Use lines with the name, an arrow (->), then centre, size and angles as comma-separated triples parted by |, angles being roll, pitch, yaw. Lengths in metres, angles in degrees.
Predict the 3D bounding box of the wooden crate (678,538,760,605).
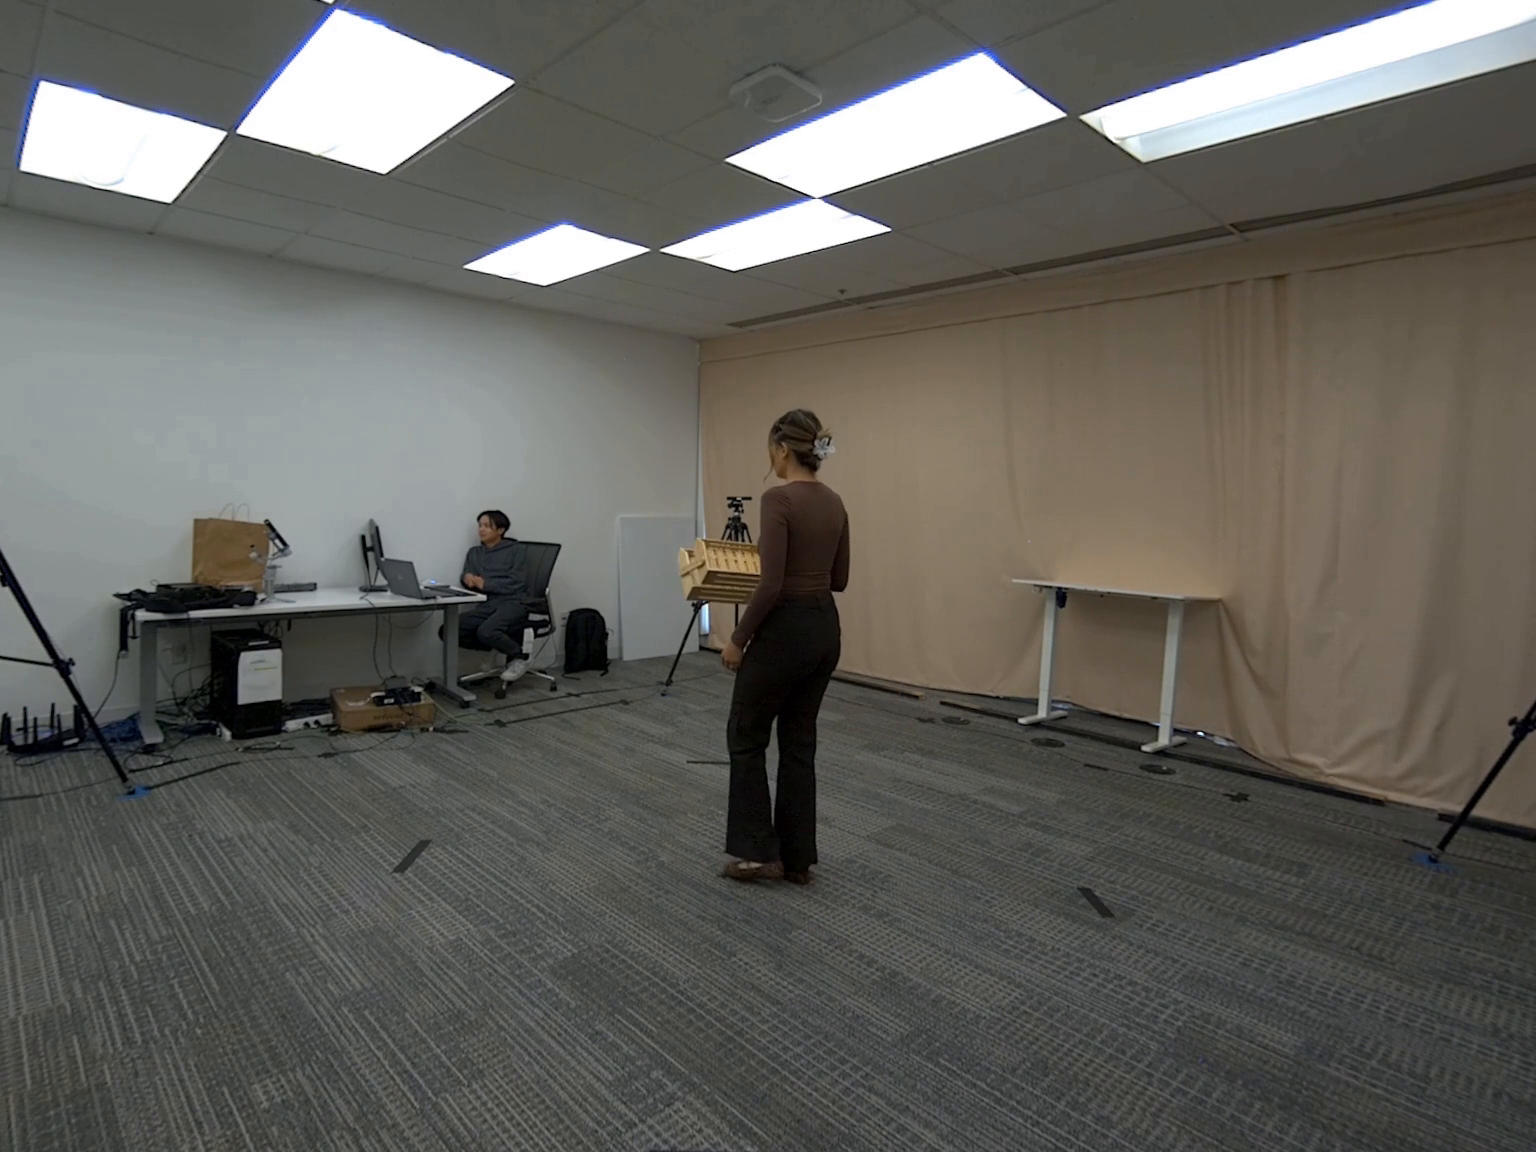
wooden crate -> -0.183, -0.046, 3.503 | 0.318, 0.310, 0.271 | 6, -42, -24
